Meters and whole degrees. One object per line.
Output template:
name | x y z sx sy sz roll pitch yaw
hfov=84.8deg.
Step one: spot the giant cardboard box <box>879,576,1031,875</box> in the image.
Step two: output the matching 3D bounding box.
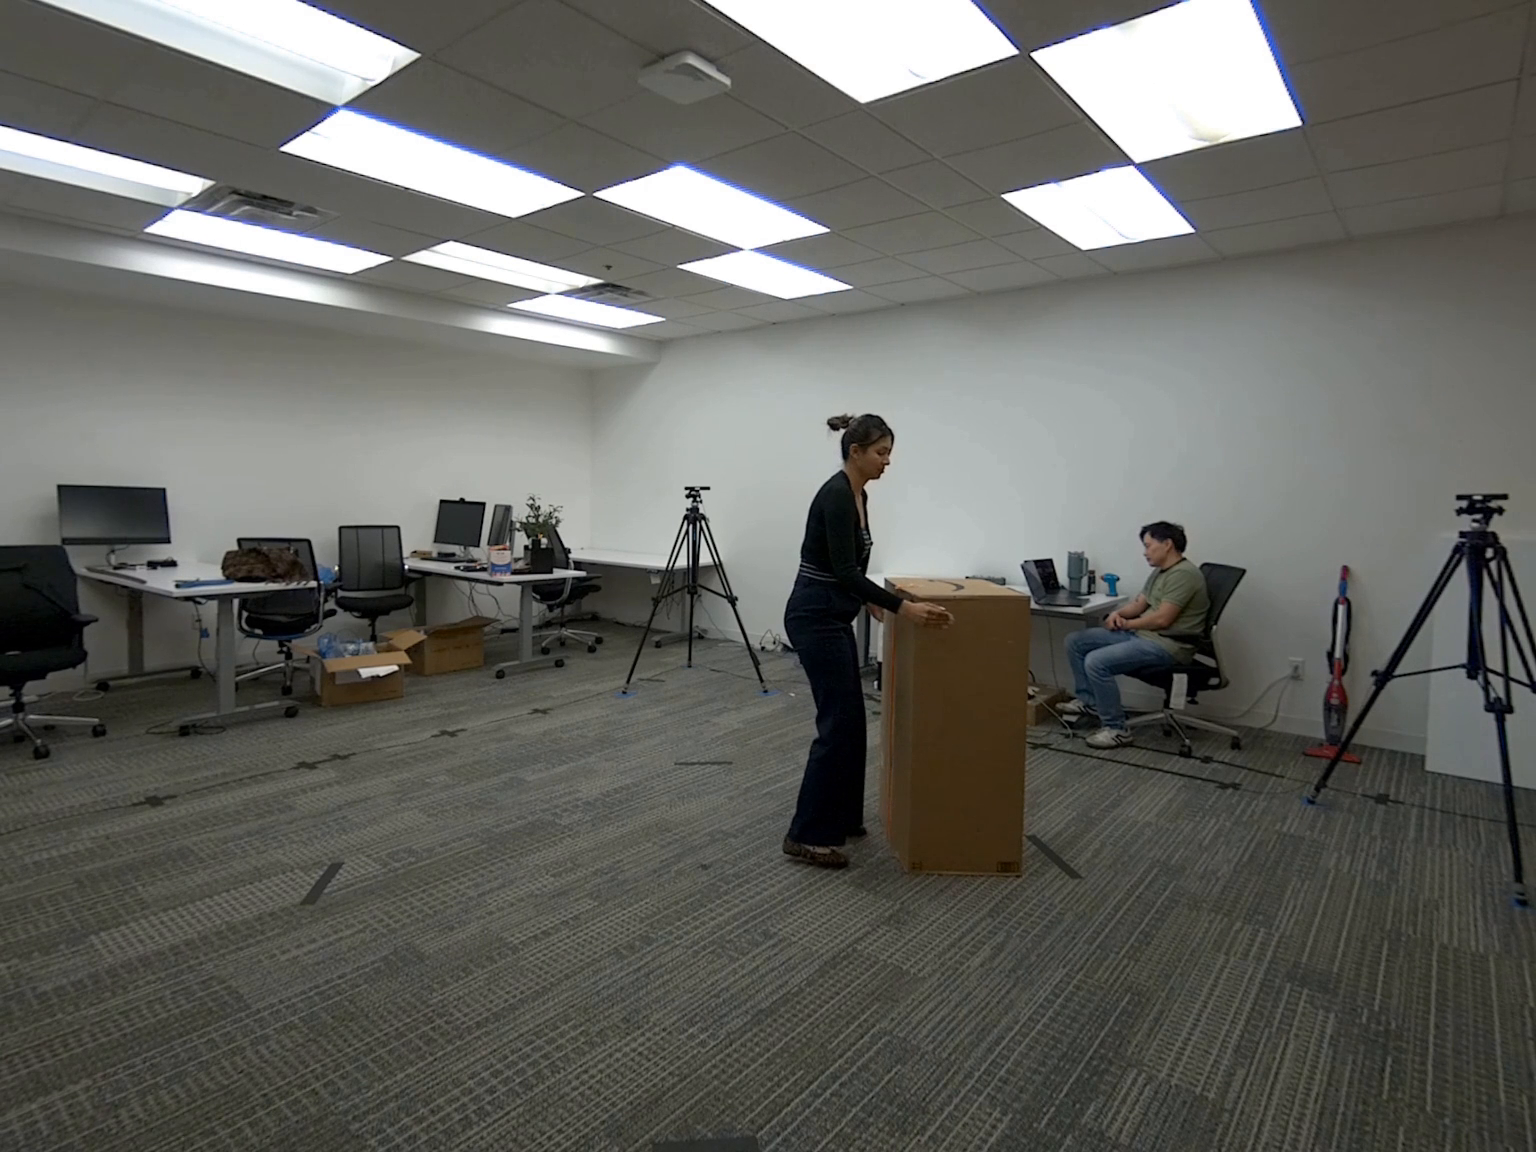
giant cardboard box | 0.703 0.550 3.347 0.425 1.022 0.581 1 4 -3
